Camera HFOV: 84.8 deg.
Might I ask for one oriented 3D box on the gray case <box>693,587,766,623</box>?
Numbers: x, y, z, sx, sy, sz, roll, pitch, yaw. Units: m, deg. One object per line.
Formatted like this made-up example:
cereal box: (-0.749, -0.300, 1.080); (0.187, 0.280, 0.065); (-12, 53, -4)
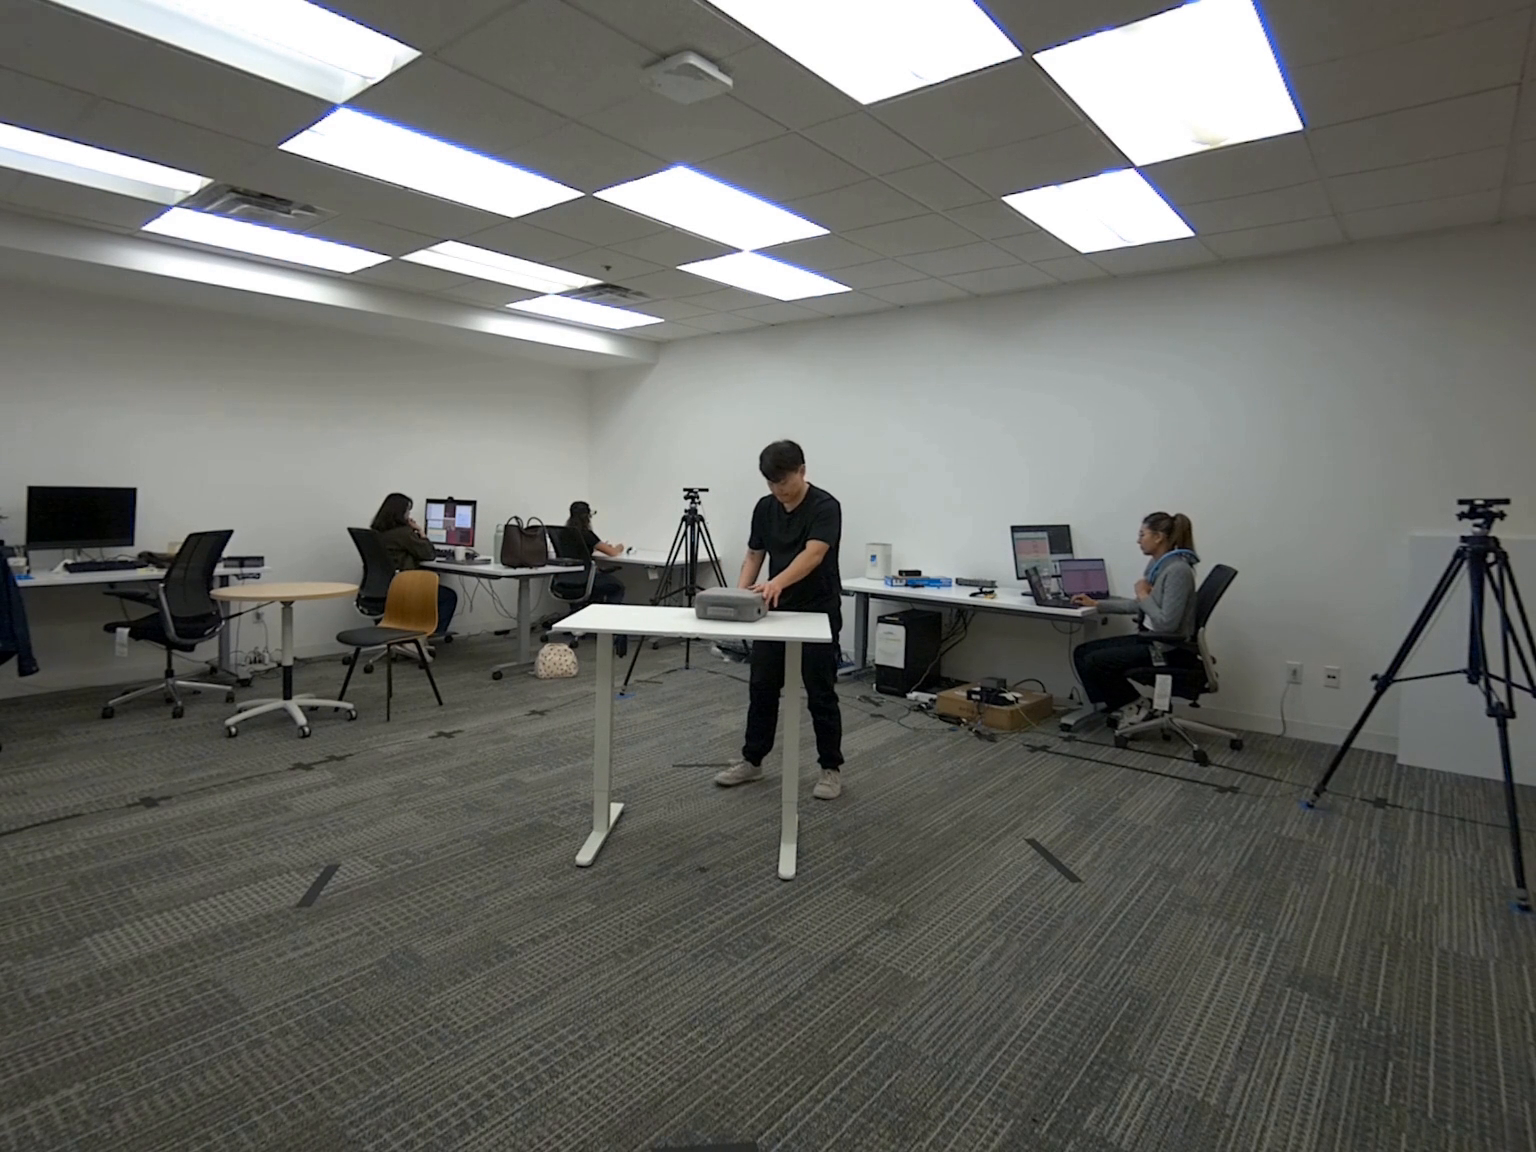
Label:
gray case: (-0.154, 0.109, 3.398); (0.261, 0.104, 0.258); (4, 6, 13)
